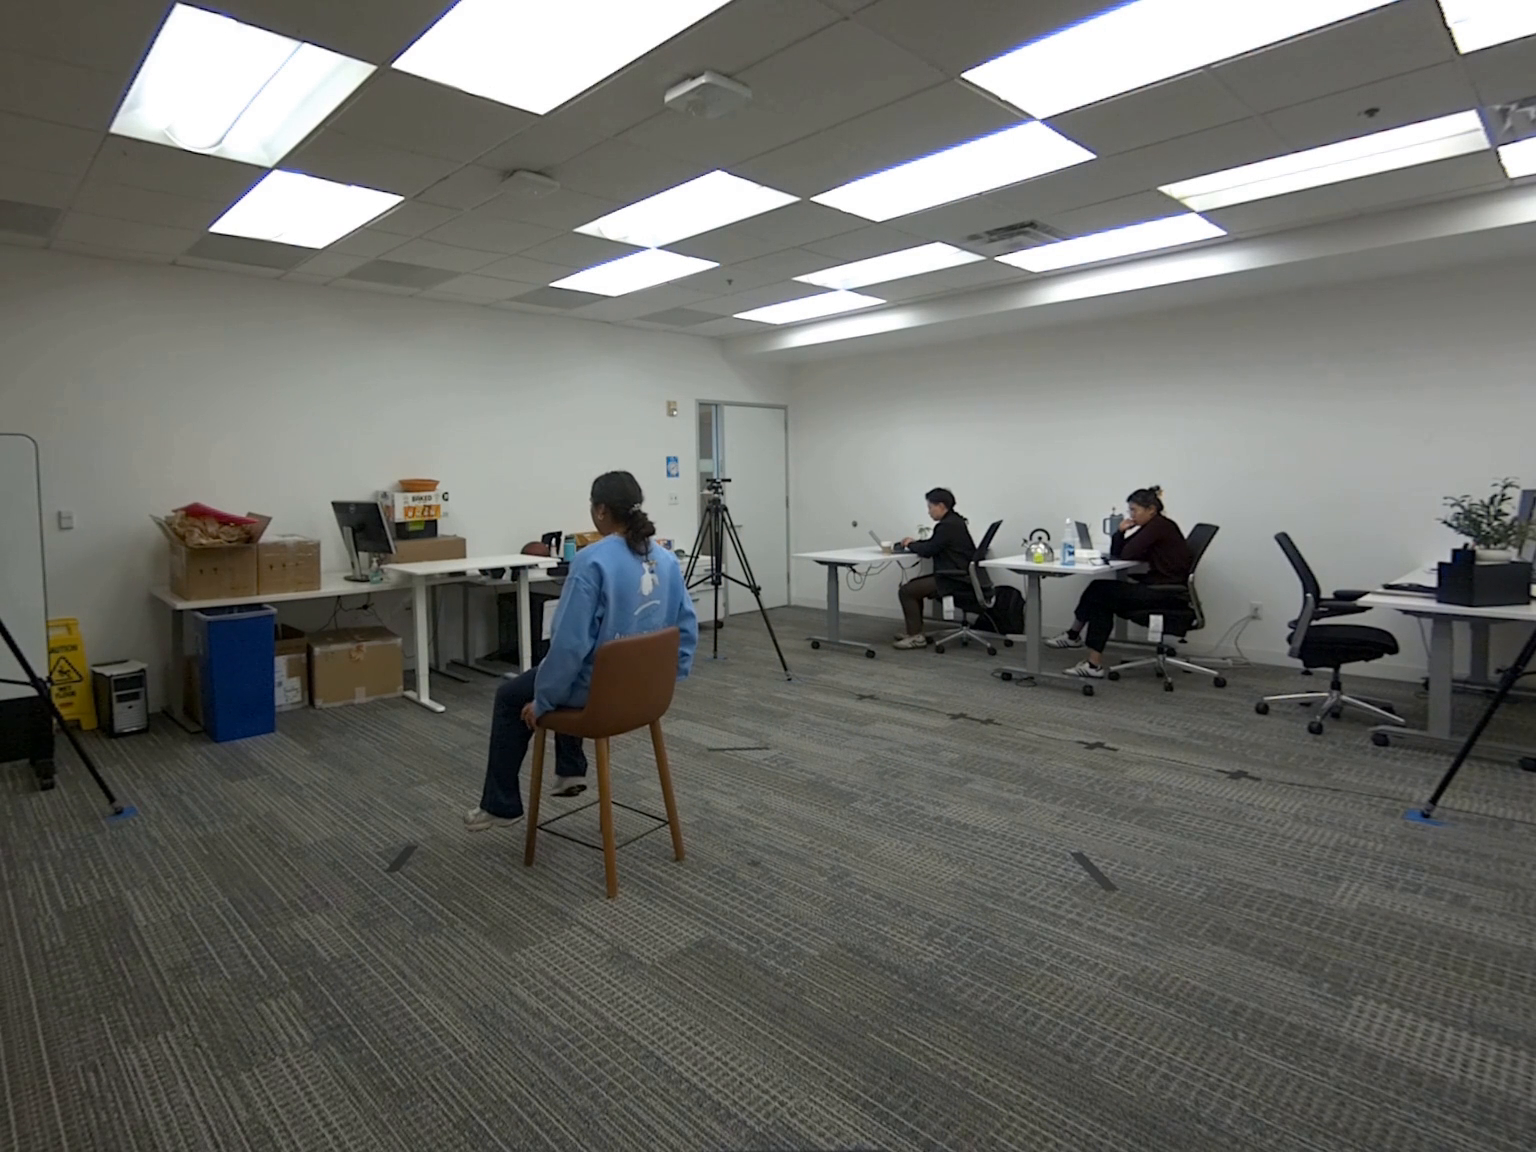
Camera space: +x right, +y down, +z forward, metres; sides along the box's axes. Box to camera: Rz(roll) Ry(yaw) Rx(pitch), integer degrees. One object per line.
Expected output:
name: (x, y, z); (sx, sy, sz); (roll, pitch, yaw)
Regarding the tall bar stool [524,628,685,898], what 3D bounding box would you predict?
tall bar stool: (-0.595, 0.618, 3.114); (0.482, 0.885, 0.445); (5, 7, 37)
